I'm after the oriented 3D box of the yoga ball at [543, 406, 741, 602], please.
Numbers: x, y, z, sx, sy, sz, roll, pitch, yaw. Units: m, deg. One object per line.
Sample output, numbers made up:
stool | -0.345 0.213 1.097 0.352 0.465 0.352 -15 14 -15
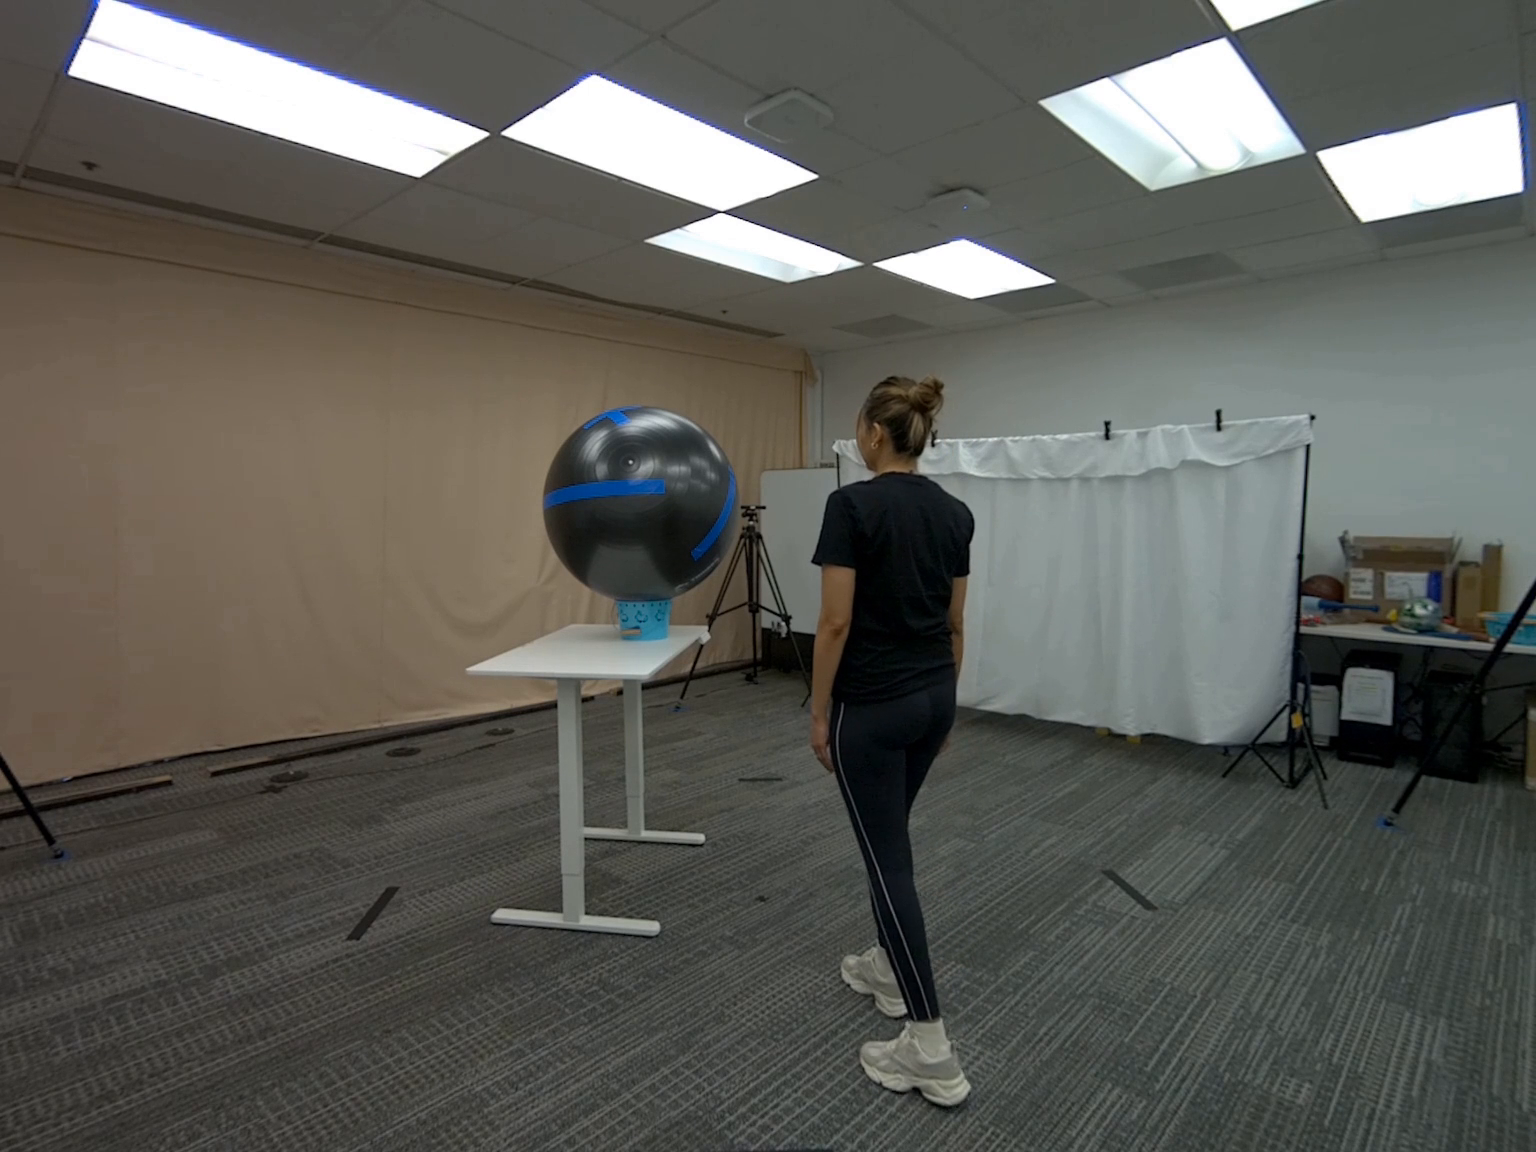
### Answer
yoga ball | -0.486 -0.269 3.266 0.757 0.756 0.761 0 4 -2
